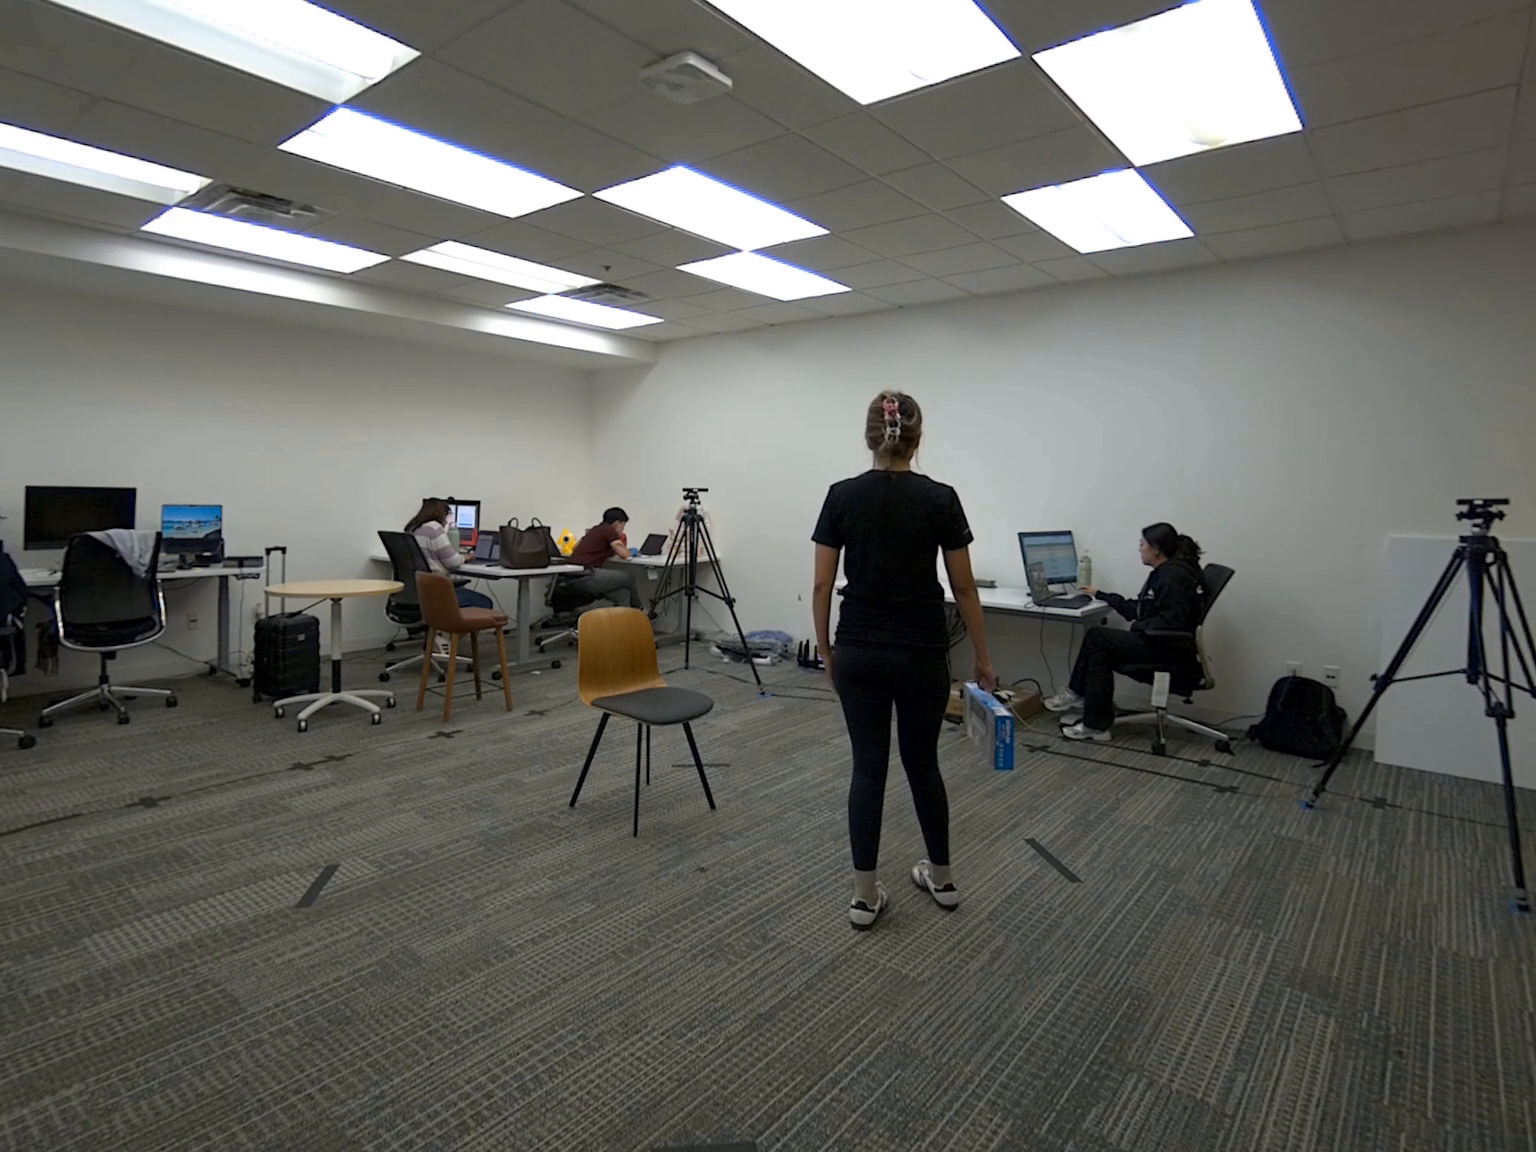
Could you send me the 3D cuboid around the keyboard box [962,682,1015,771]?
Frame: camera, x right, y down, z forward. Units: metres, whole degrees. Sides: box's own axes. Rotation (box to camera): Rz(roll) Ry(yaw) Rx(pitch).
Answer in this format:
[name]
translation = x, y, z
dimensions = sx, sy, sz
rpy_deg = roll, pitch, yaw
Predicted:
[keyboard box]
translation = 0.720, 0.490, 2.847
dimensions = 0.059, 0.175, 0.439
rpy_deg = -2, 6, -2
